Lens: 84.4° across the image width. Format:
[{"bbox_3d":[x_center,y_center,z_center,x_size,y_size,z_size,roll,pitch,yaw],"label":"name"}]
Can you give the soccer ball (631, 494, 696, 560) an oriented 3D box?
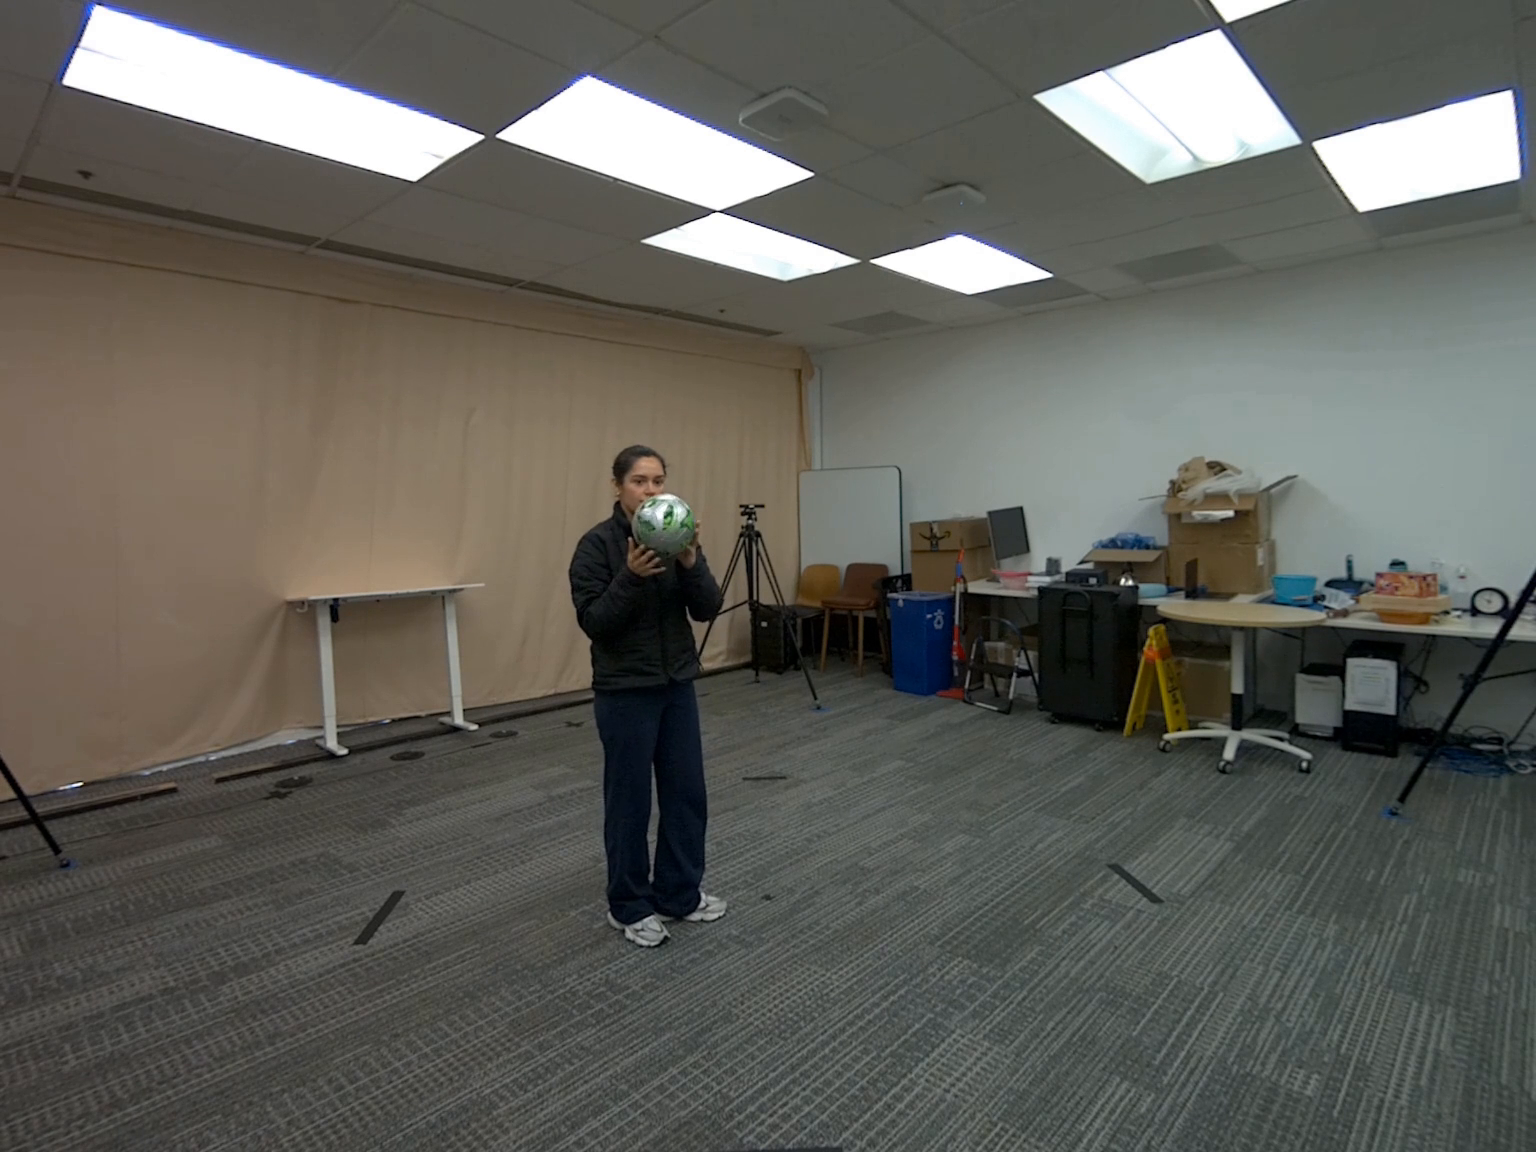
[{"bbox_3d":[-0.307,-0.141,2.465,0.187,0.187,0.188,-1,4,-2],"label":"soccer ball"}]
